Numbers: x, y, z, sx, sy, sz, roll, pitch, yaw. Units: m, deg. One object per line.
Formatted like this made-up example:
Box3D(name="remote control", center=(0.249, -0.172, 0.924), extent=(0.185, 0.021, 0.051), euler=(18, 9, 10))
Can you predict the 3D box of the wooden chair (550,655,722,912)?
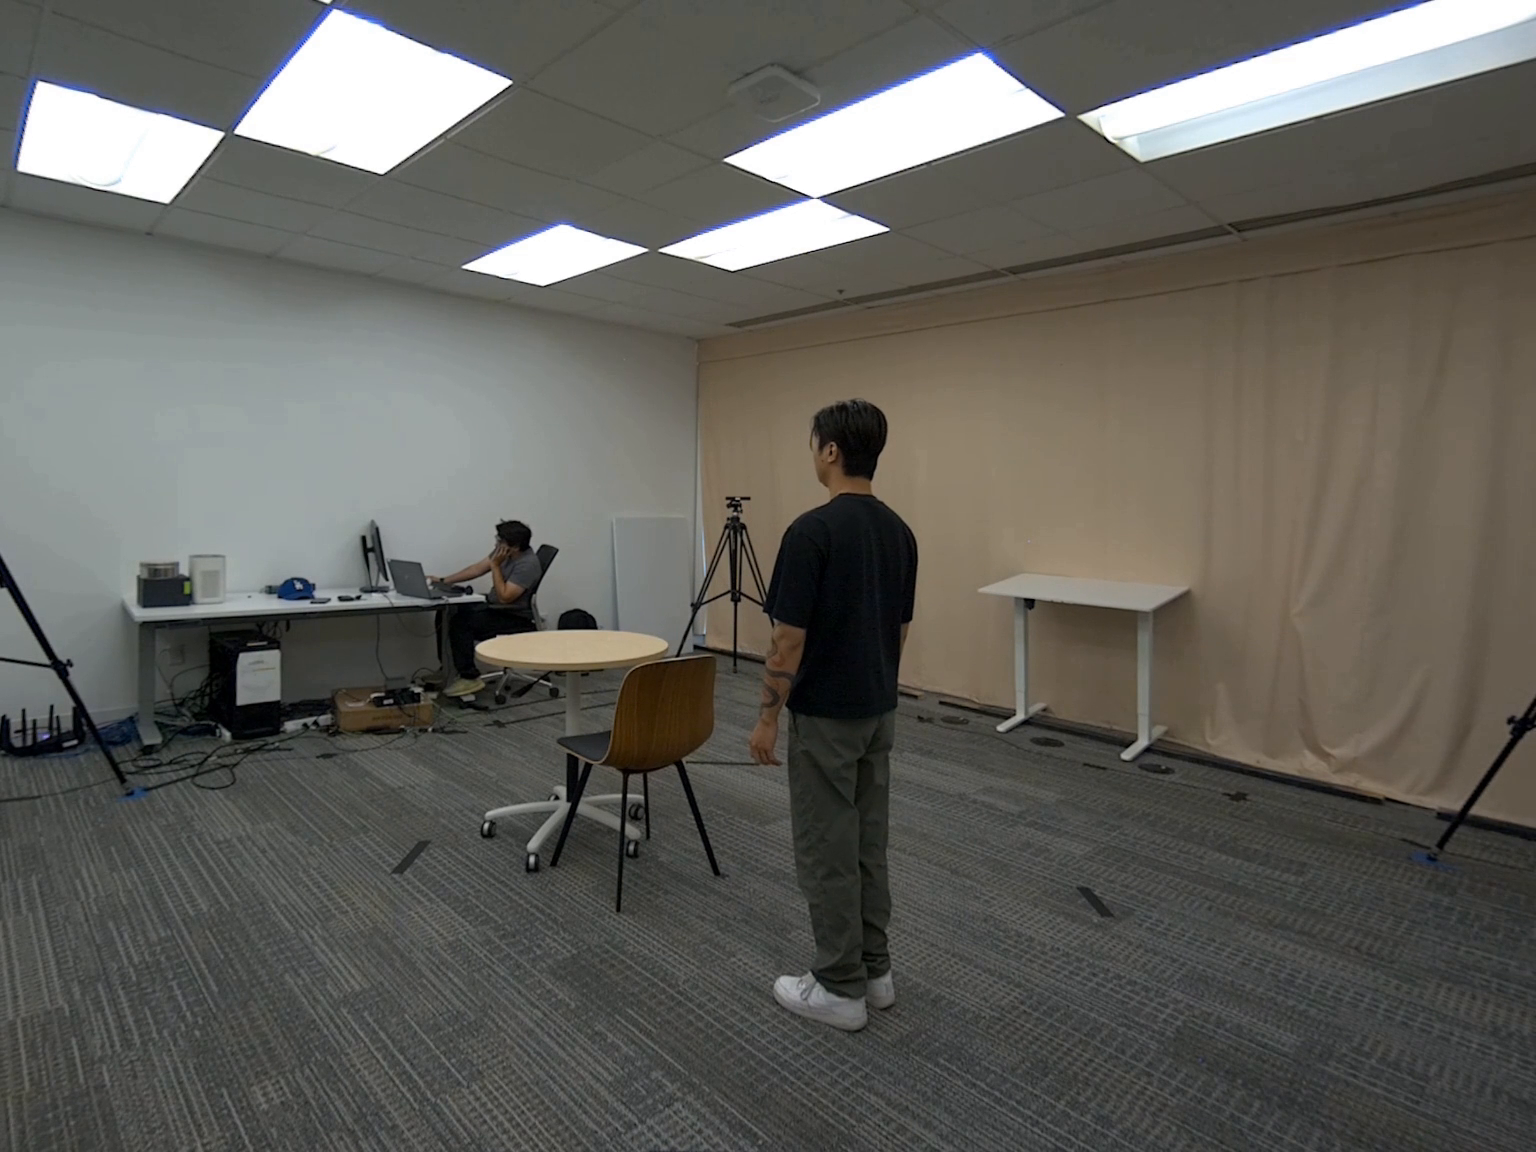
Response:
Box3D(name="wooden chair", center=(-0.492, 0.675, 3.097), extent=(0.467, 0.873, 0.537), euler=(-2, 9, -42))
